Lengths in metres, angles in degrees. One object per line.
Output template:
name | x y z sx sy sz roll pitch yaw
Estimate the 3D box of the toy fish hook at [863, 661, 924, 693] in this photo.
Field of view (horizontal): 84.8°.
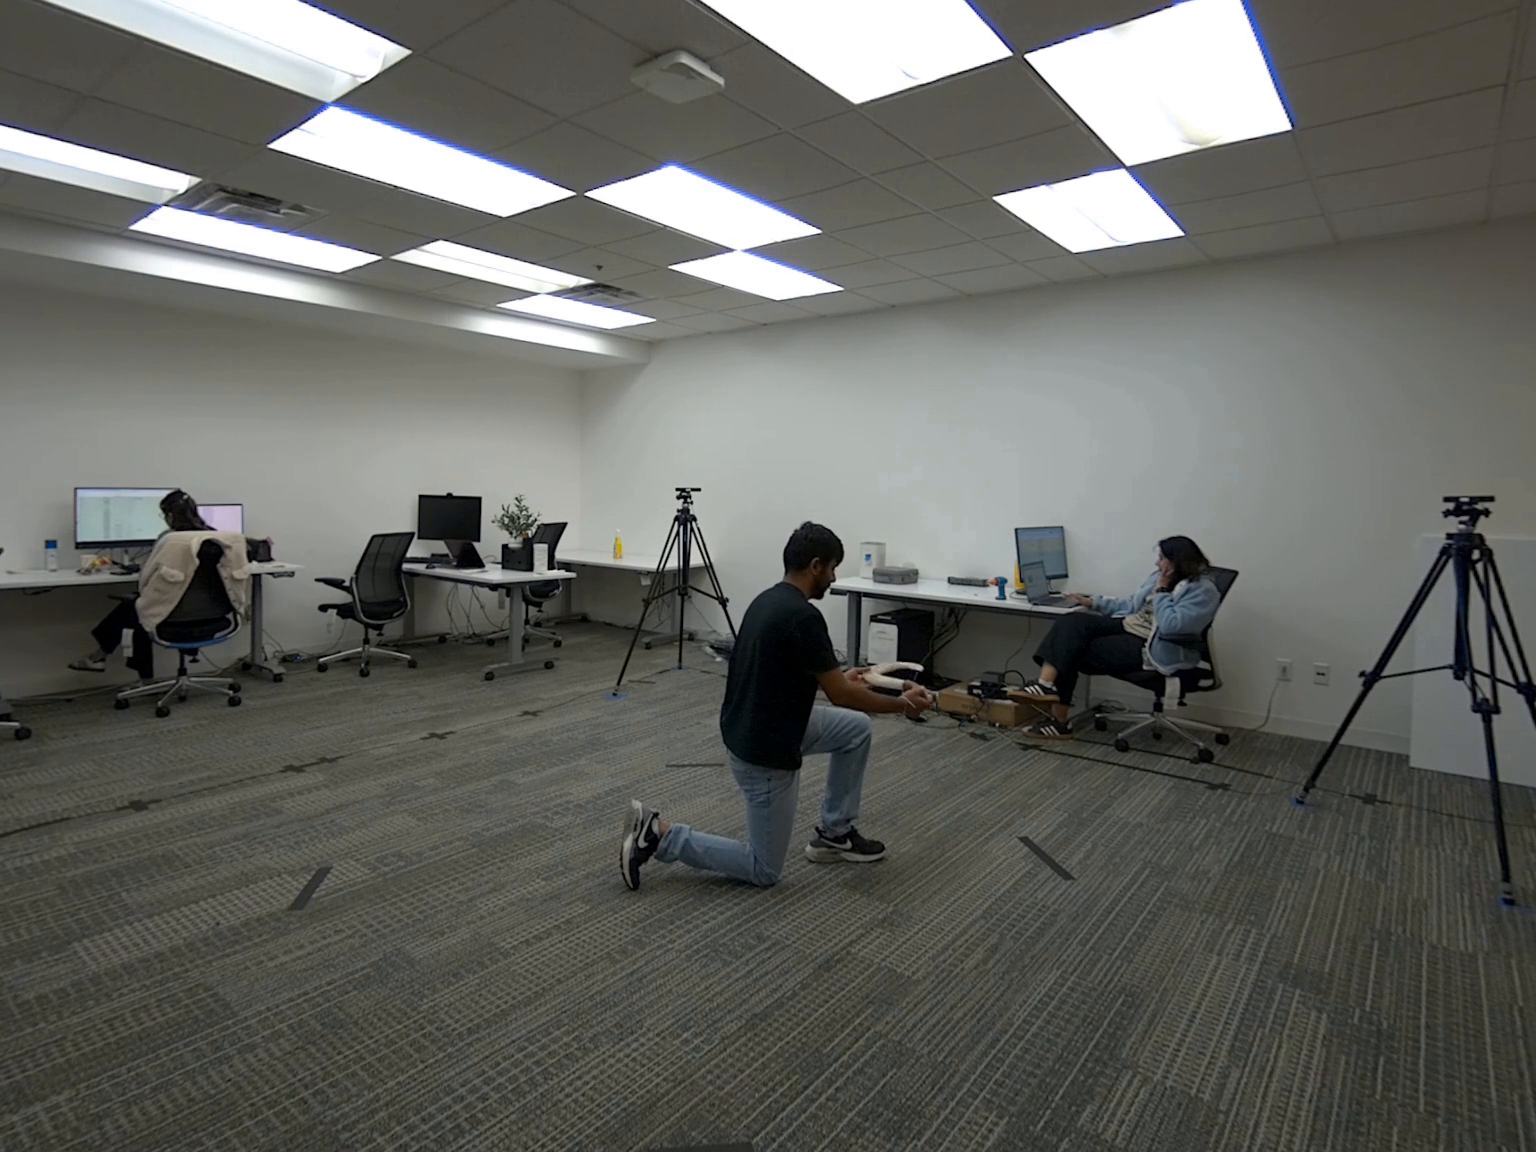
toy fish hook | 0.523 0.391 3.247 0.222 0.048 0.519 -20 13 -18
